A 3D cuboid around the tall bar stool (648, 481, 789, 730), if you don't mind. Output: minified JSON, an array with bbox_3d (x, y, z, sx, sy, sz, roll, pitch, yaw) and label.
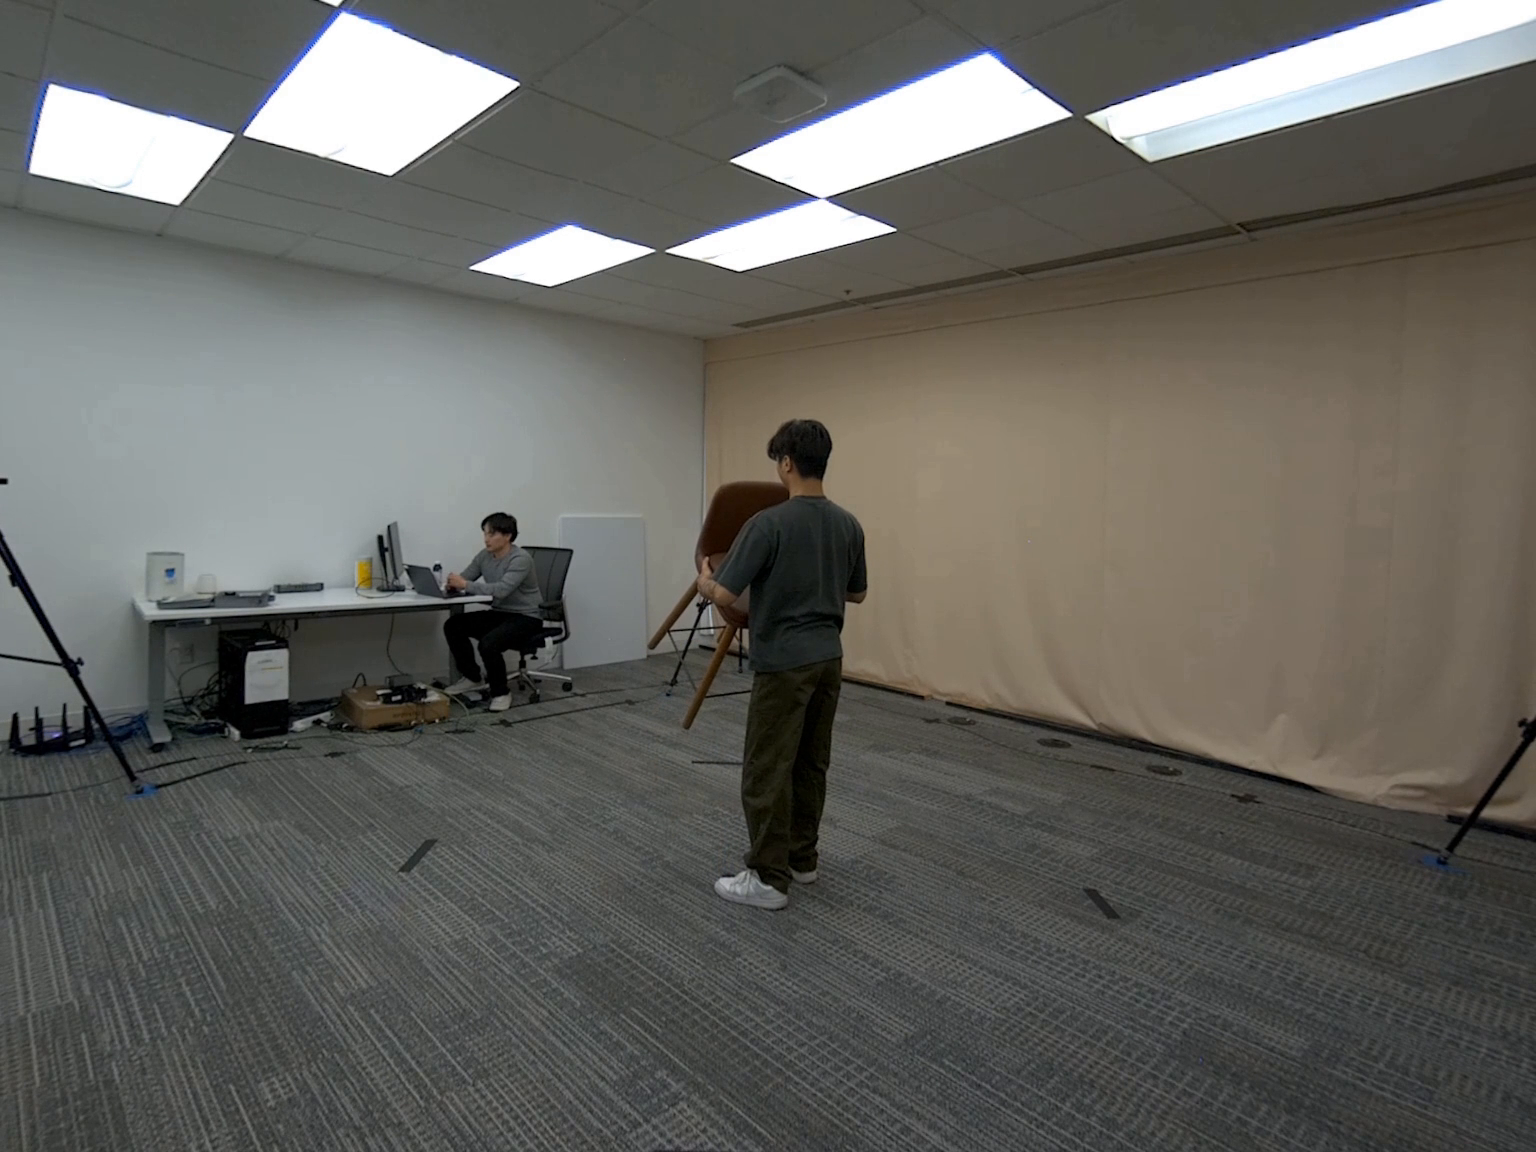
[{"bbox_3d":[-0.104,0.124,3.296,0.446,0.881,0.482,0,39,-35],"label":"tall bar stool"}]
